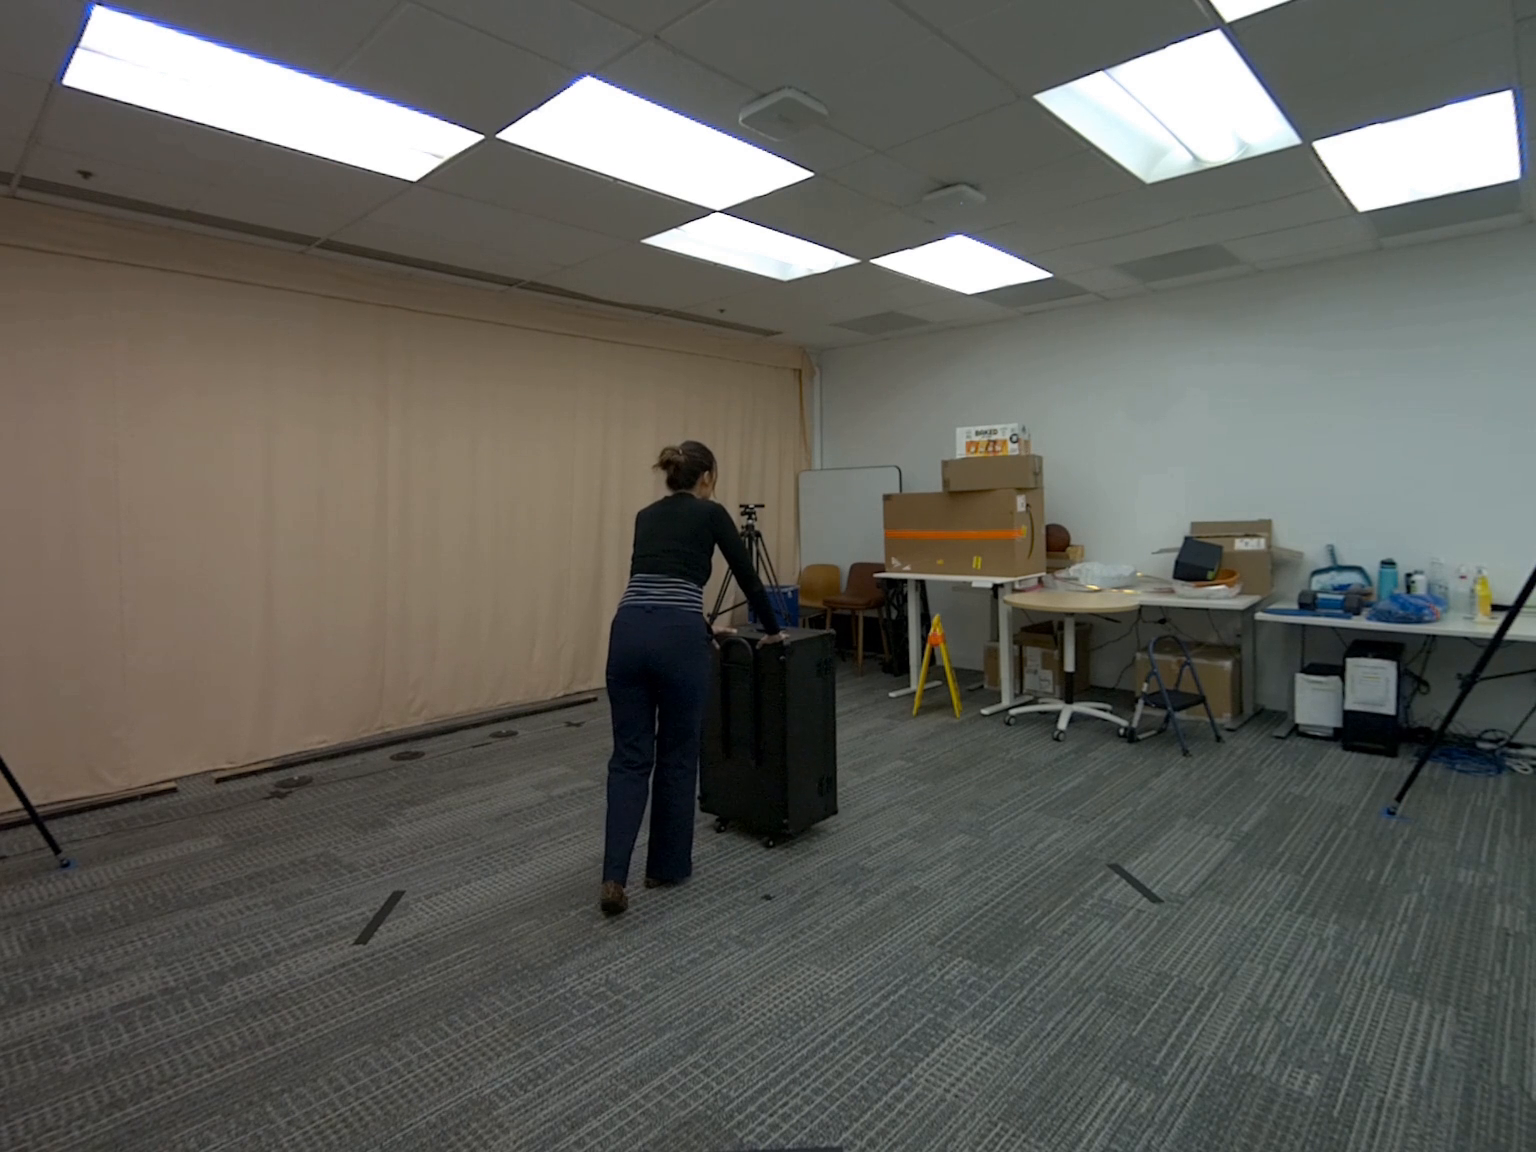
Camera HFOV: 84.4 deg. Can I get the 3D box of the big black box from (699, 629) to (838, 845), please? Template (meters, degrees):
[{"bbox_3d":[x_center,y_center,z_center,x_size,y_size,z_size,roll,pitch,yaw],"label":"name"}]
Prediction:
[{"bbox_3d":[-0.006,0.660,3.592,0.538,0.859,0.384,2,4,39],"label":"big black box"}]
